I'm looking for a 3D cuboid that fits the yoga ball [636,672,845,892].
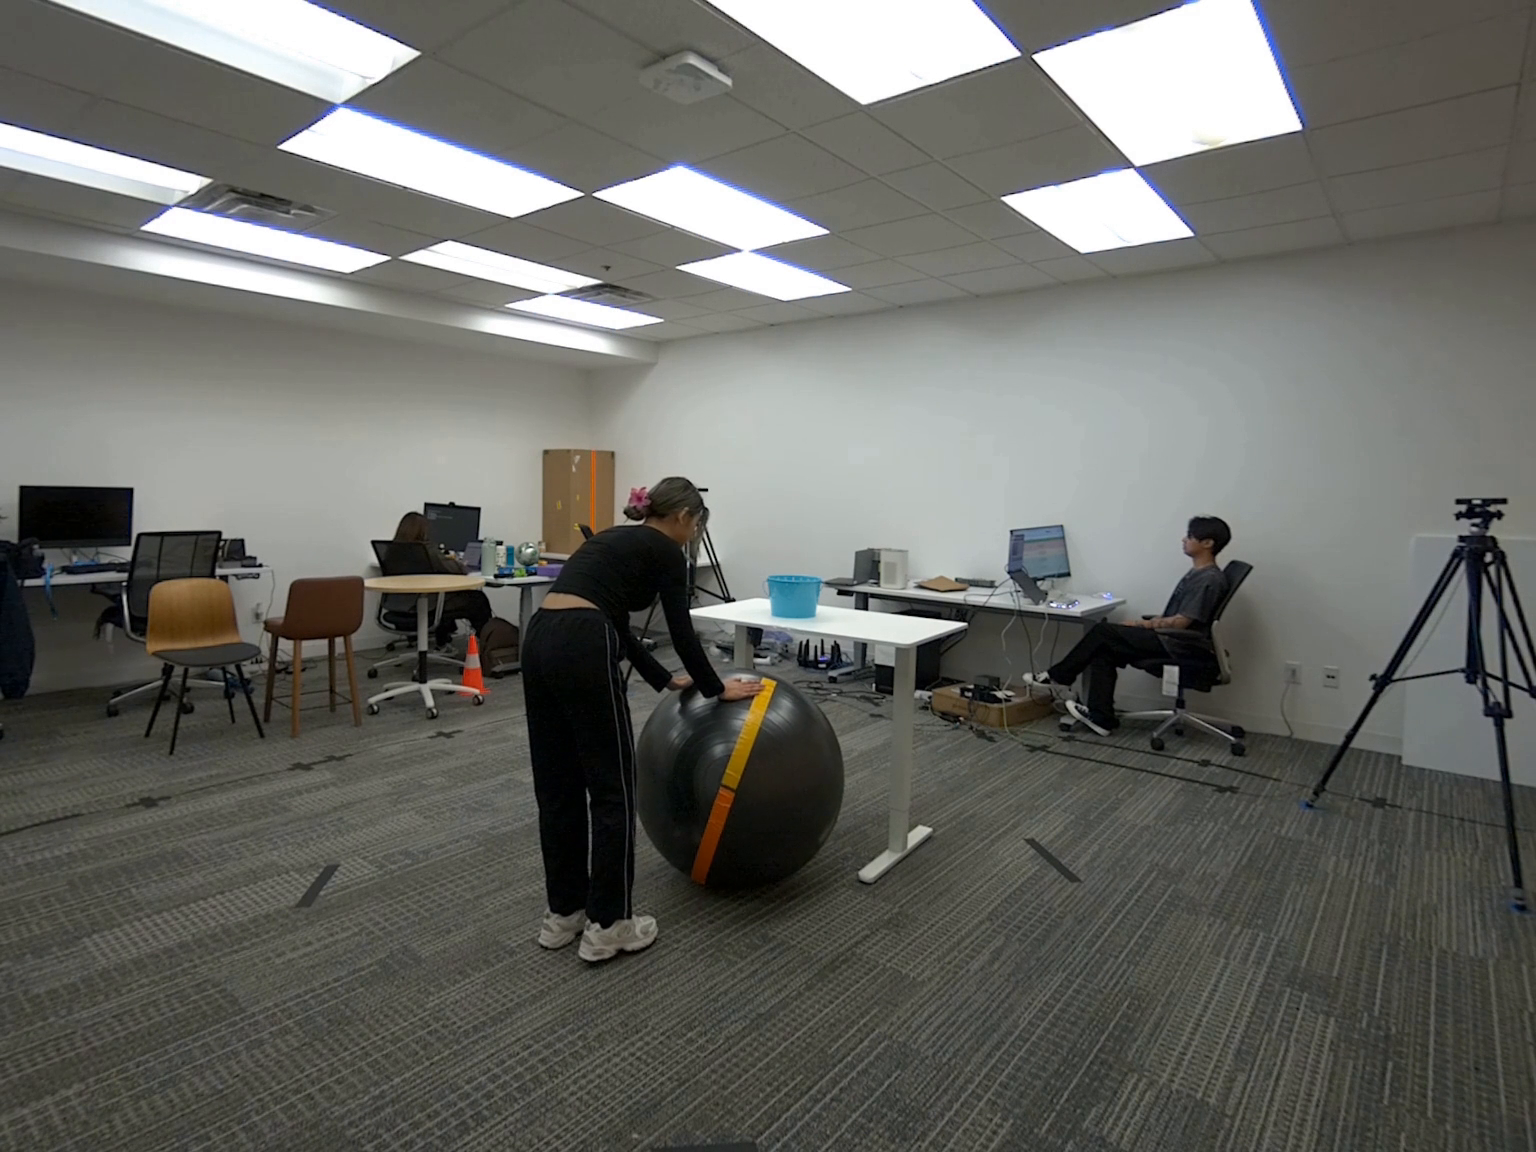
[{"bbox_3d":[-0.108,0.715,3.045,0.757,0.756,0.761,1,4,-2],"label":"yoga ball"}]
